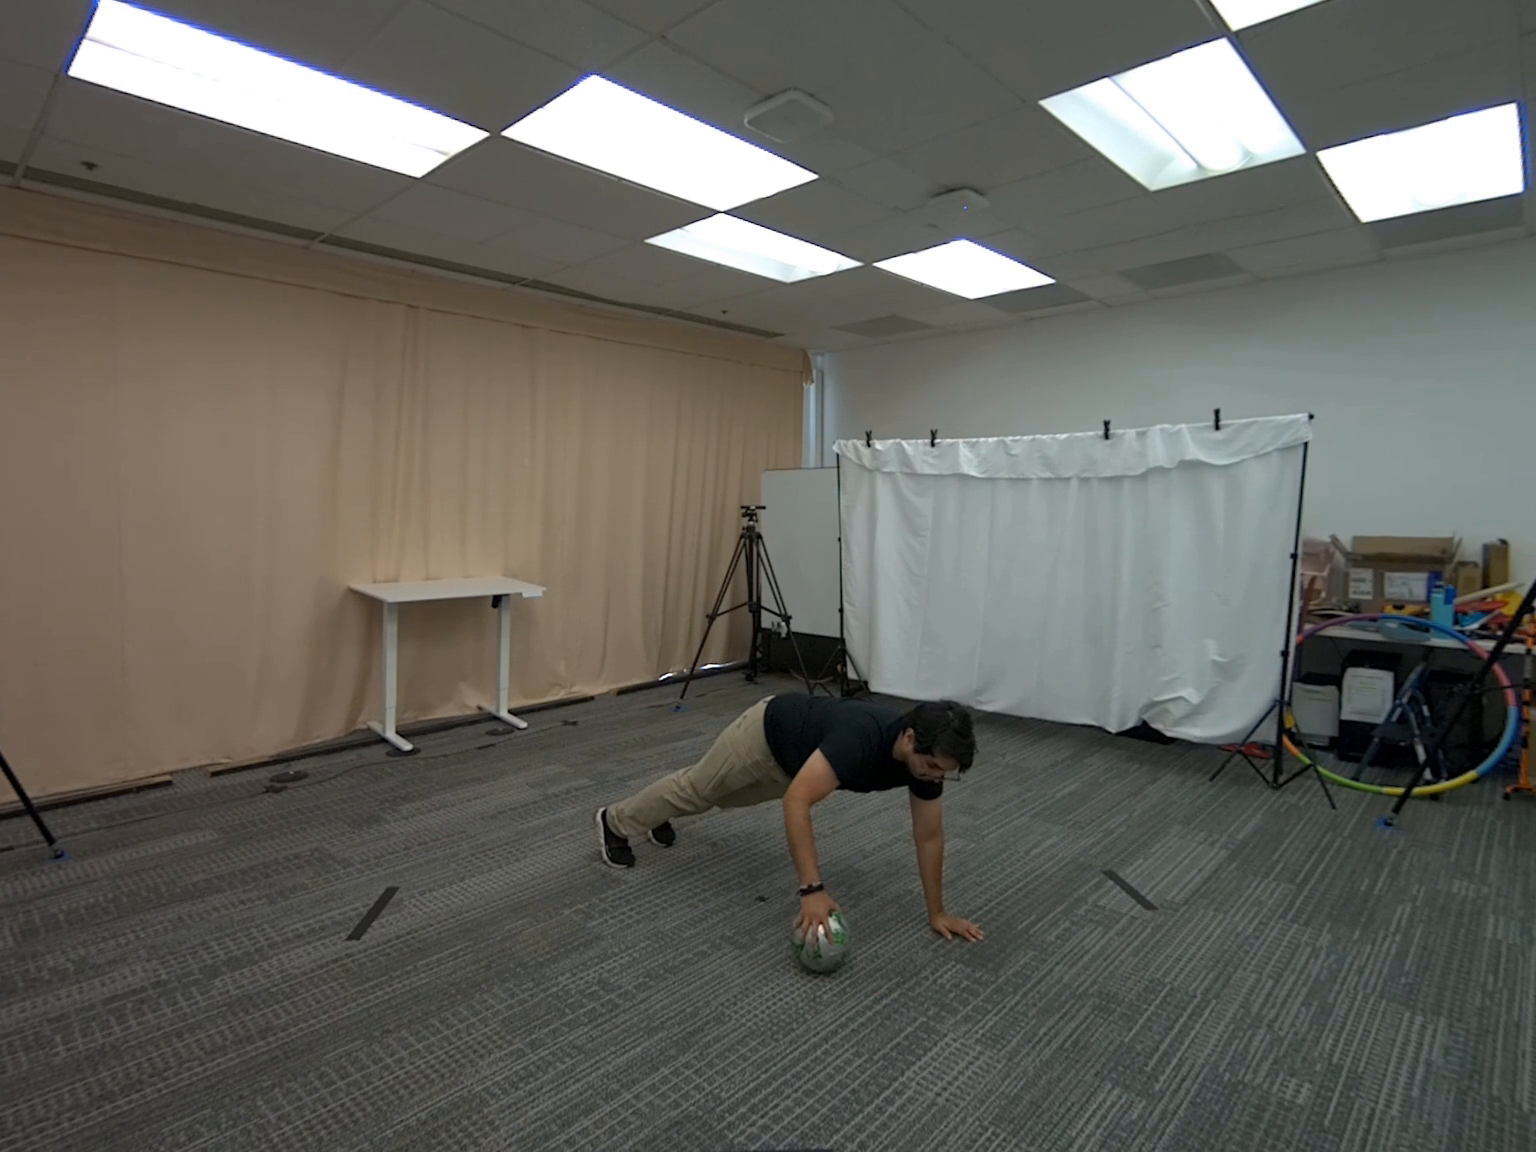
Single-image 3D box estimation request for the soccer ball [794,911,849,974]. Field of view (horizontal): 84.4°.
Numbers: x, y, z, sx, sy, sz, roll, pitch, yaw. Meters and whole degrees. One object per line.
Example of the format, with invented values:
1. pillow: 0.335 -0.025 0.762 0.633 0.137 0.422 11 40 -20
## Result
1. soccer ball: 0.164 1.093 2.534 0.187 0.187 0.188 0 4 -2
